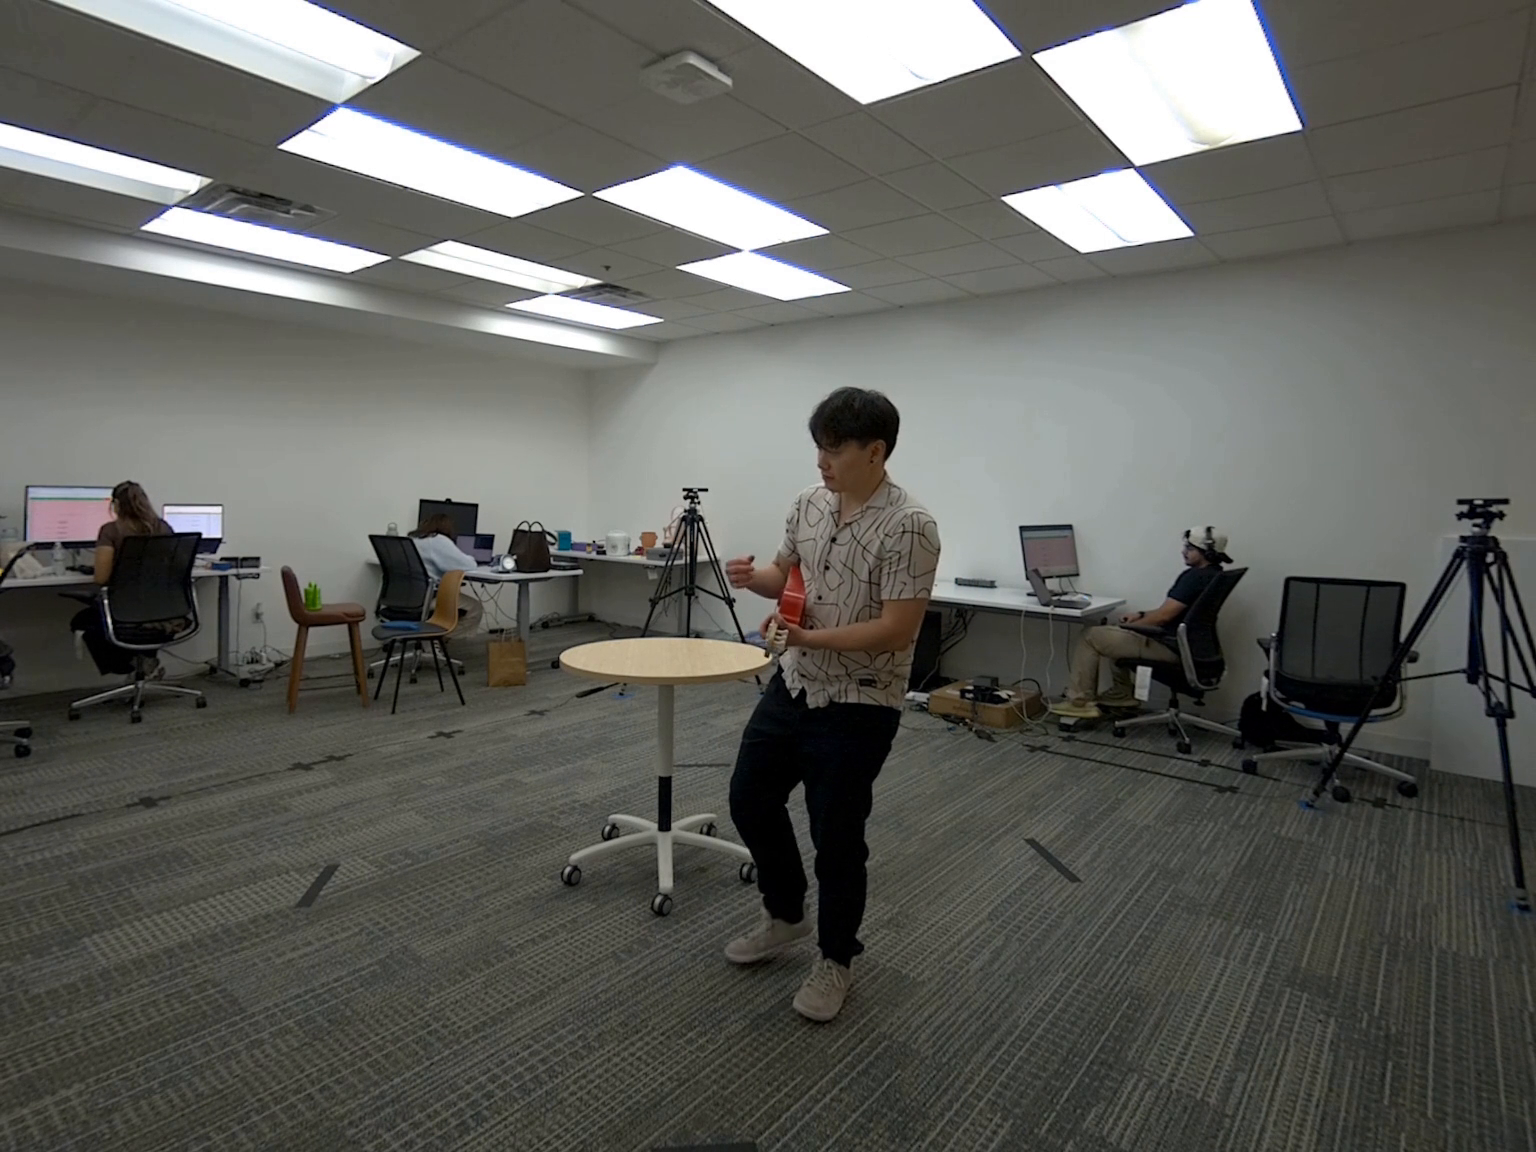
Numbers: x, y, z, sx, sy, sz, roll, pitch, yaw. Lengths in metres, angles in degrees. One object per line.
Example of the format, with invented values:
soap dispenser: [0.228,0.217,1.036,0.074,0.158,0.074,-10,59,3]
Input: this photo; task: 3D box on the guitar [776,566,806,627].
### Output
guitar: [0.034,0.135,2.250,0.070,0.190,0.505,16,24,-3]
